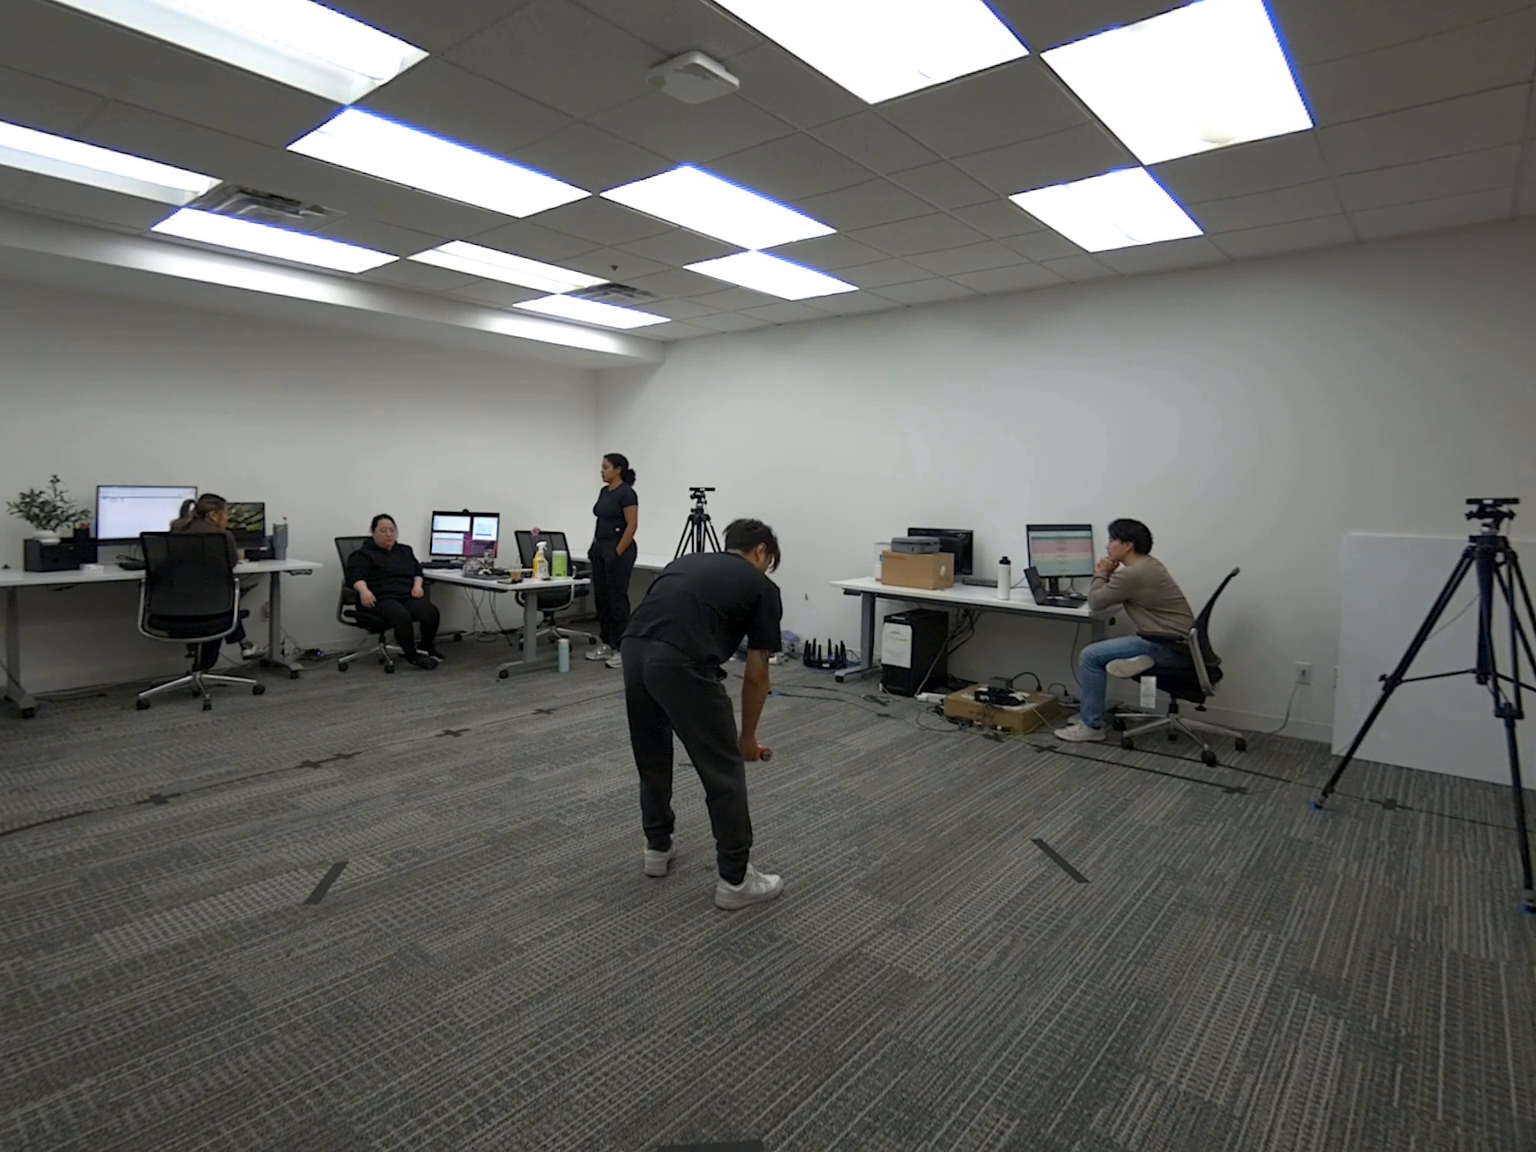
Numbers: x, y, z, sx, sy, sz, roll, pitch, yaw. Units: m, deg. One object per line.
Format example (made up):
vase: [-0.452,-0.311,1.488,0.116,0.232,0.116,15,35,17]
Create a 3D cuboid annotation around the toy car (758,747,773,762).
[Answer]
toy car: [-0.128,0.645,3.138,0.248,0.084,0.132,22,-20,-21]
